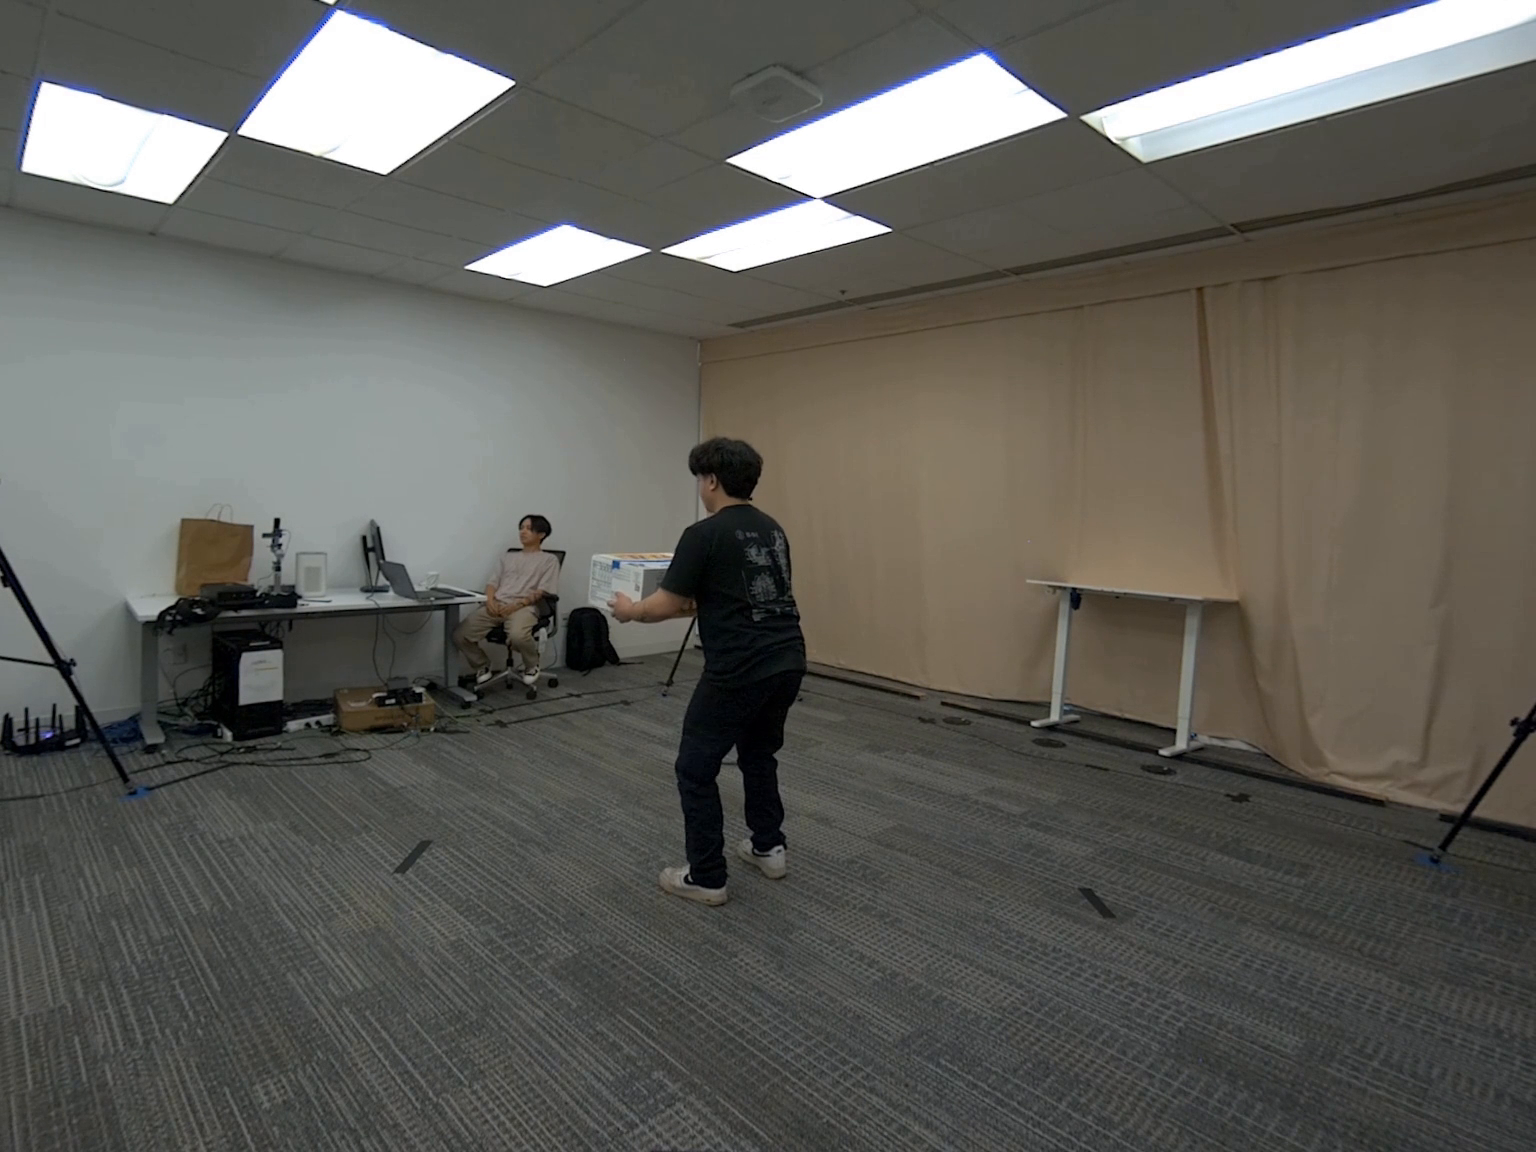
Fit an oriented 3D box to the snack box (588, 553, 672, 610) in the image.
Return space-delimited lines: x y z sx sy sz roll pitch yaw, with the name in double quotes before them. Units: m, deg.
"snack box" -0.448 0.040 3.357 0.396 0.205 0.350 -3 11 -45
